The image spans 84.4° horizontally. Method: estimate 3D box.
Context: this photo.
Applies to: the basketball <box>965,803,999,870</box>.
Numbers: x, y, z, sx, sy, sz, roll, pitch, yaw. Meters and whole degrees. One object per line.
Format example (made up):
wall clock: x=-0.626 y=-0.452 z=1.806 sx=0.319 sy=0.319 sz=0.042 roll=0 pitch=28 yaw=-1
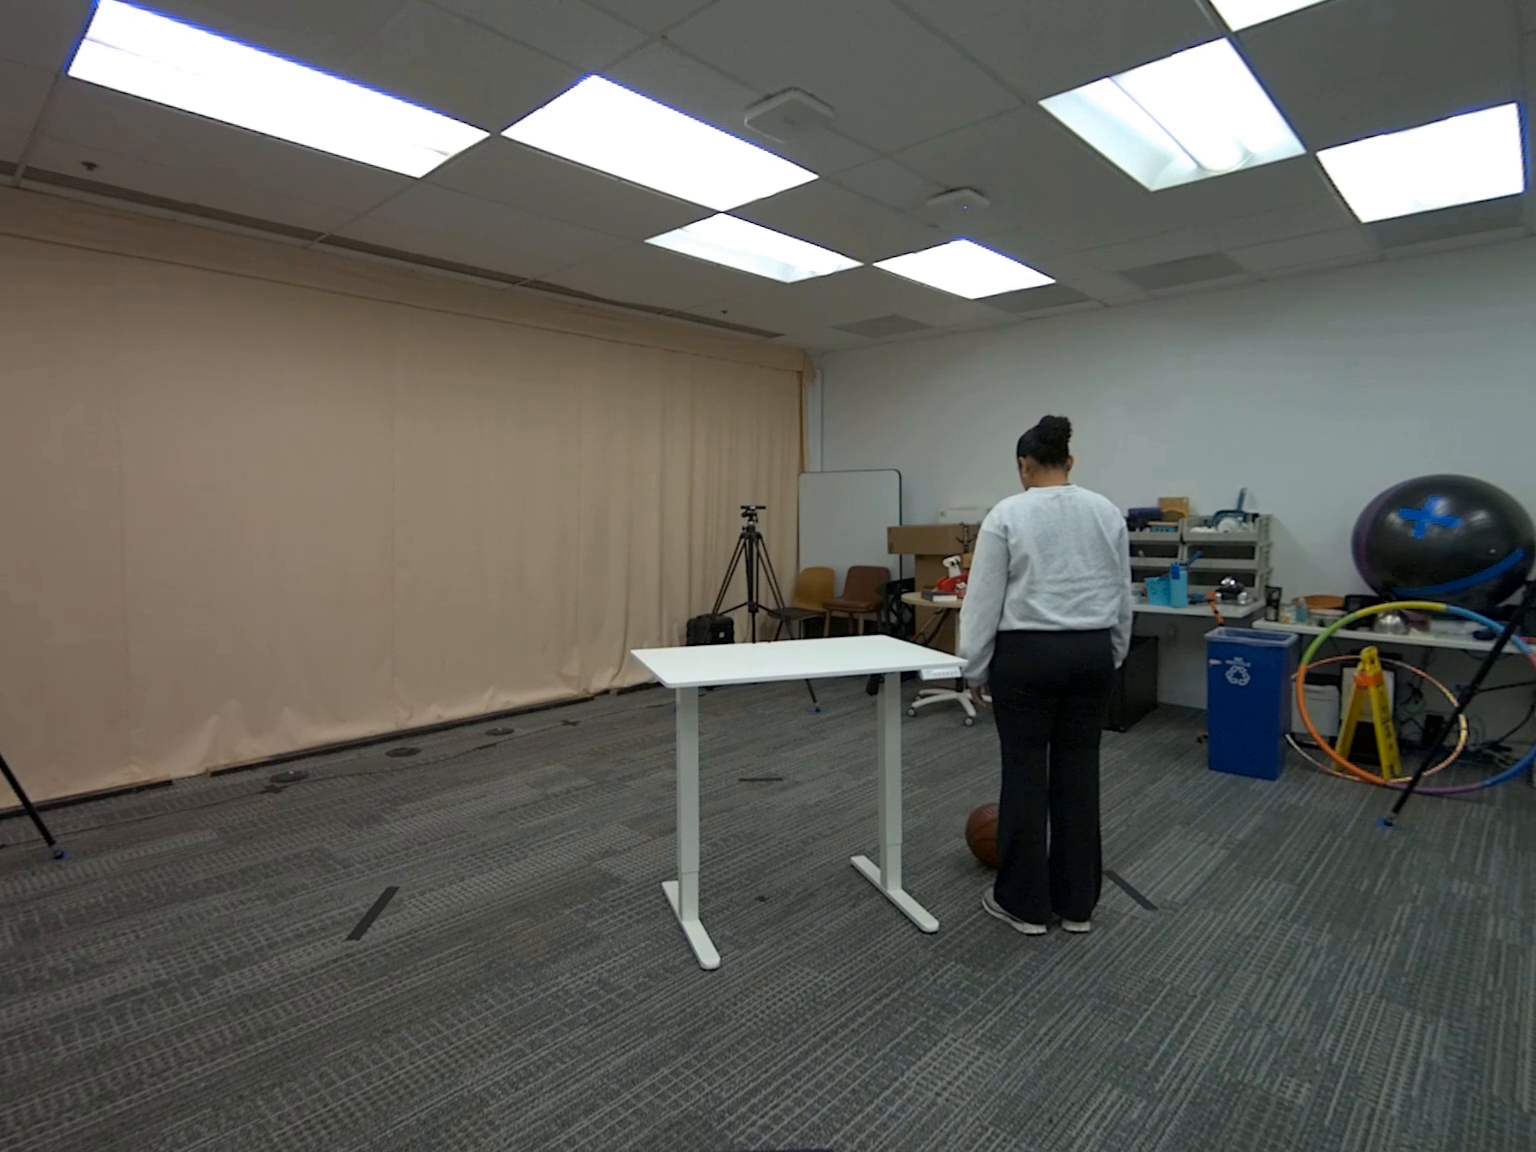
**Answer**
basketball: x=0.890 y=0.996 z=3.244 sx=0.236 sy=0.235 sz=0.237 roll=0 pitch=4 yaw=-2
